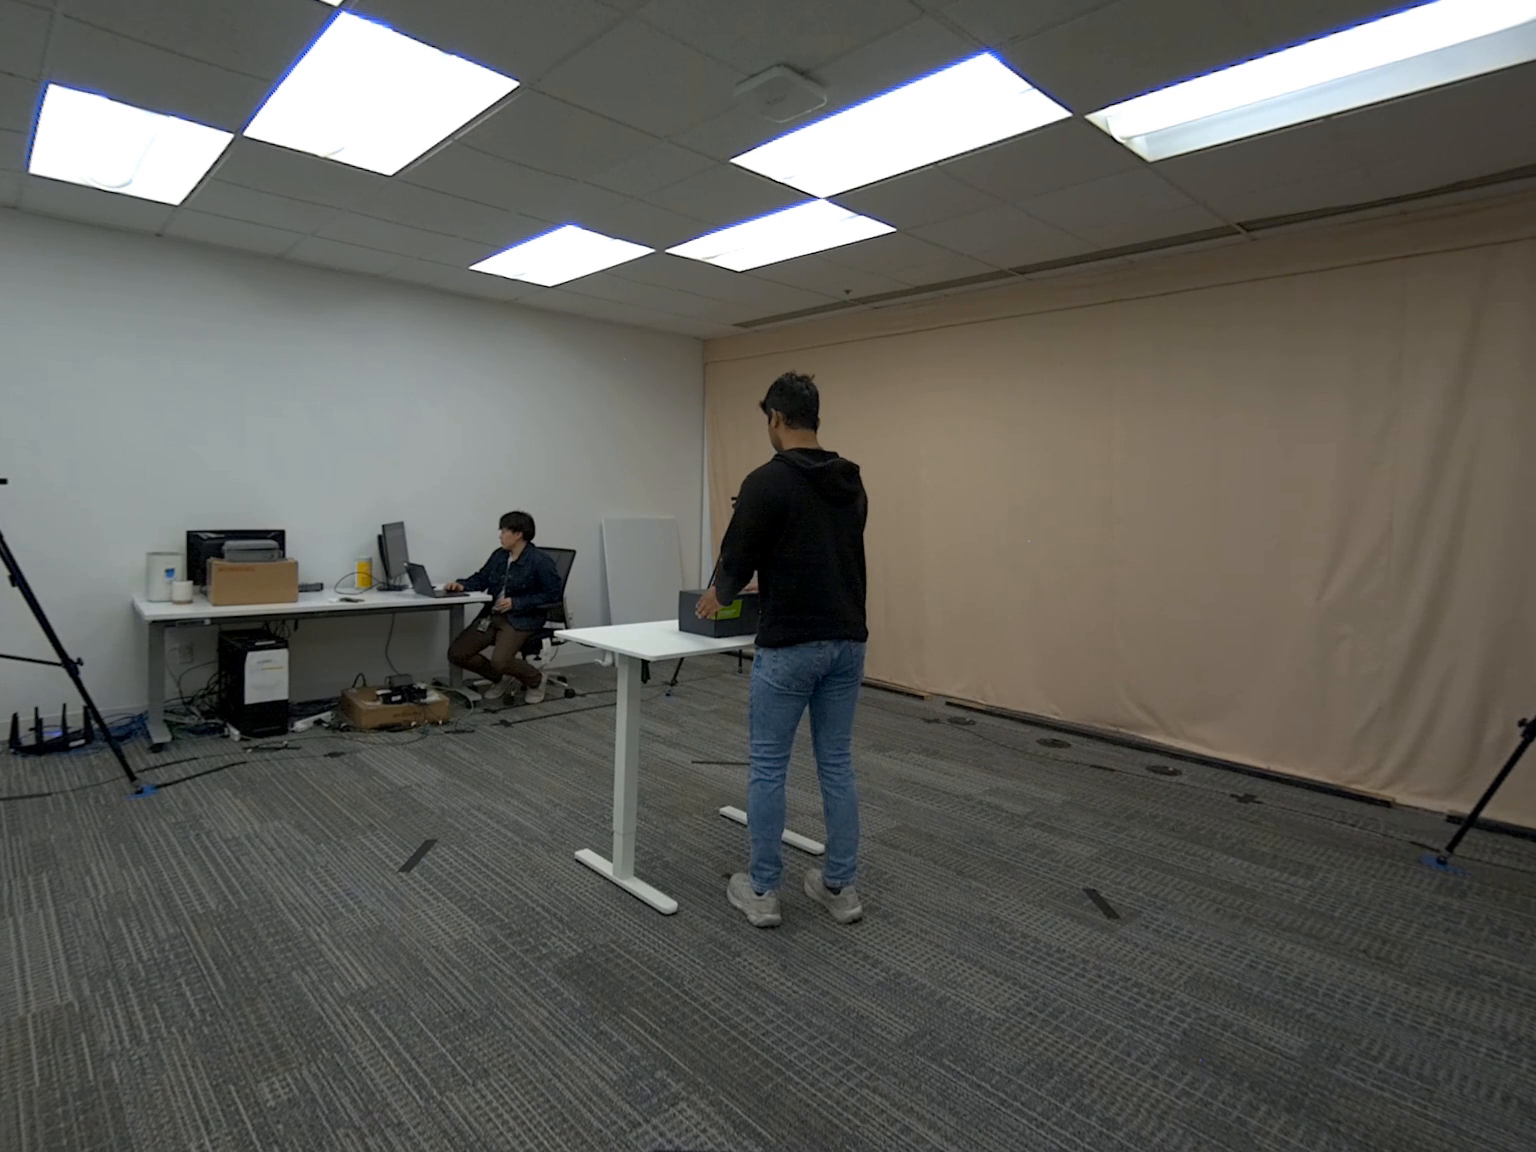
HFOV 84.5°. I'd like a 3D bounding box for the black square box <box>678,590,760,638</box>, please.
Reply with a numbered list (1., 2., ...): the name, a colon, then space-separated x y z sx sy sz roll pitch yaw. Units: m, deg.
1. black square box: -0.193 0.136 3.202 0.223 0.155 0.222 -3 6 -44
